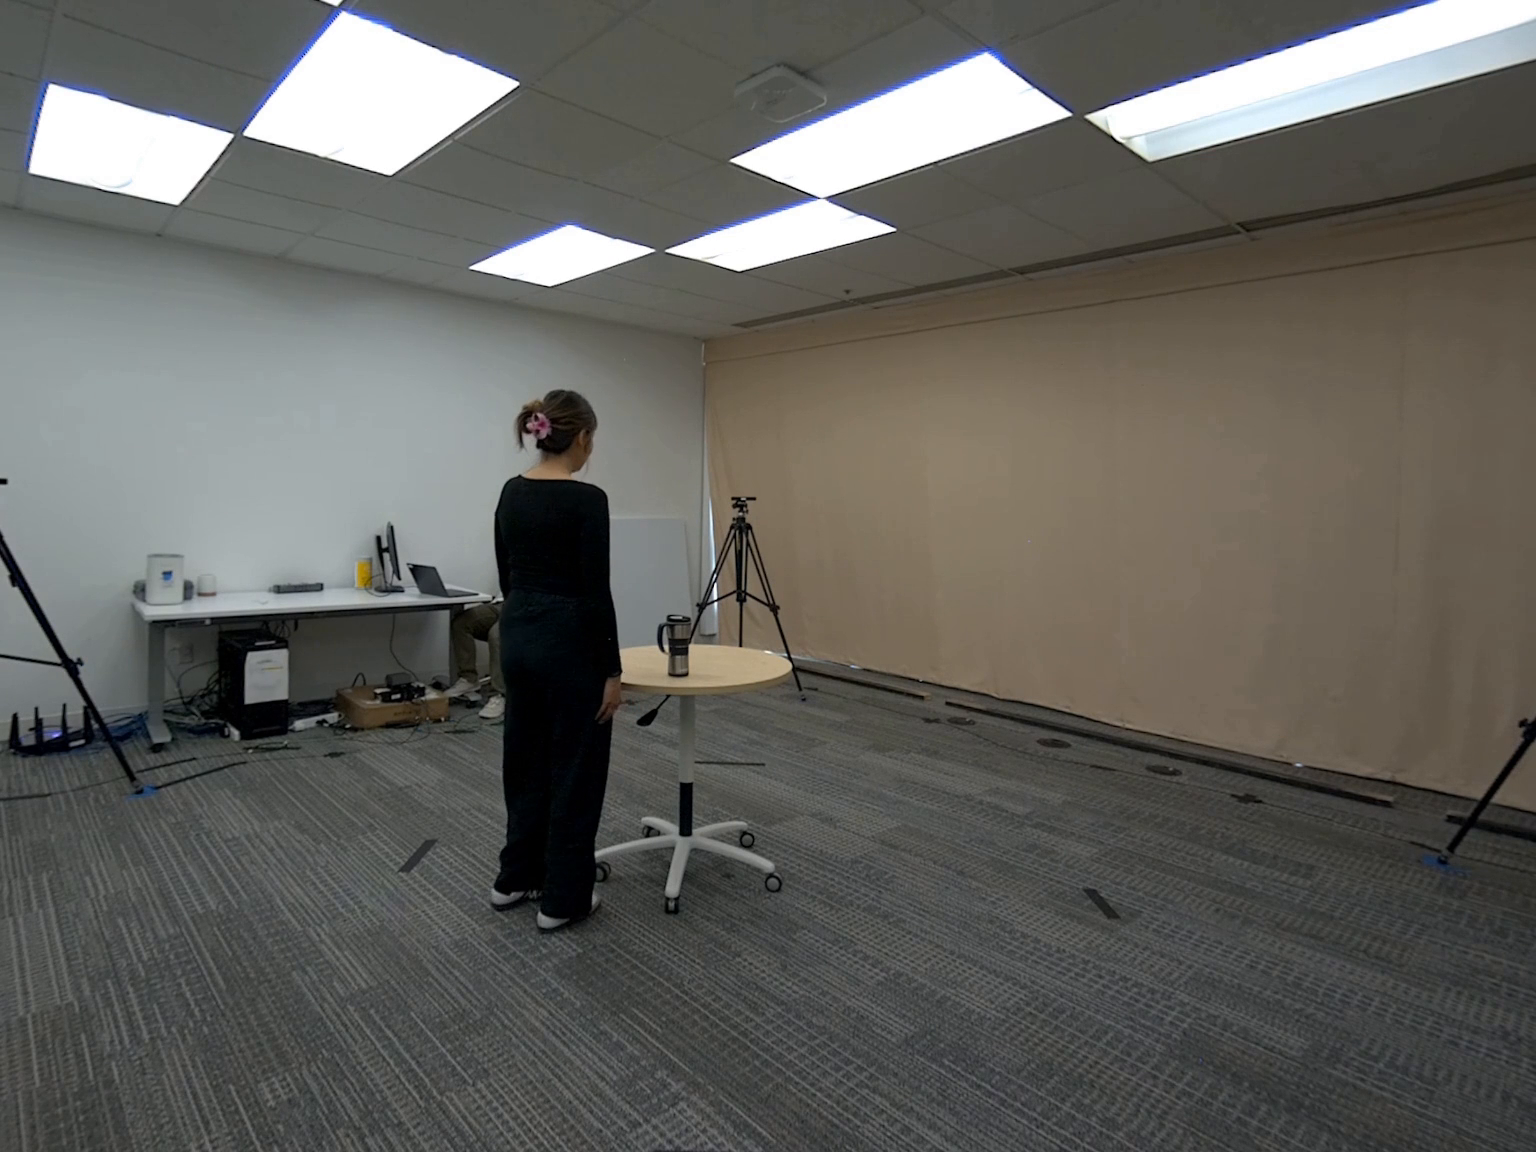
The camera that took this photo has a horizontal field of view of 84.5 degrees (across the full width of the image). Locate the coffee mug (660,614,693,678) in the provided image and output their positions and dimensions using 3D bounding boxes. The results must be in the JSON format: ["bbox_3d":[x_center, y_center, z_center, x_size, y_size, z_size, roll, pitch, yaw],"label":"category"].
[{"bbox_3d":[-0.332,0.242,2.868,0.120,0.202,0.090,4,6,-24],"label":"coffee mug"}]
